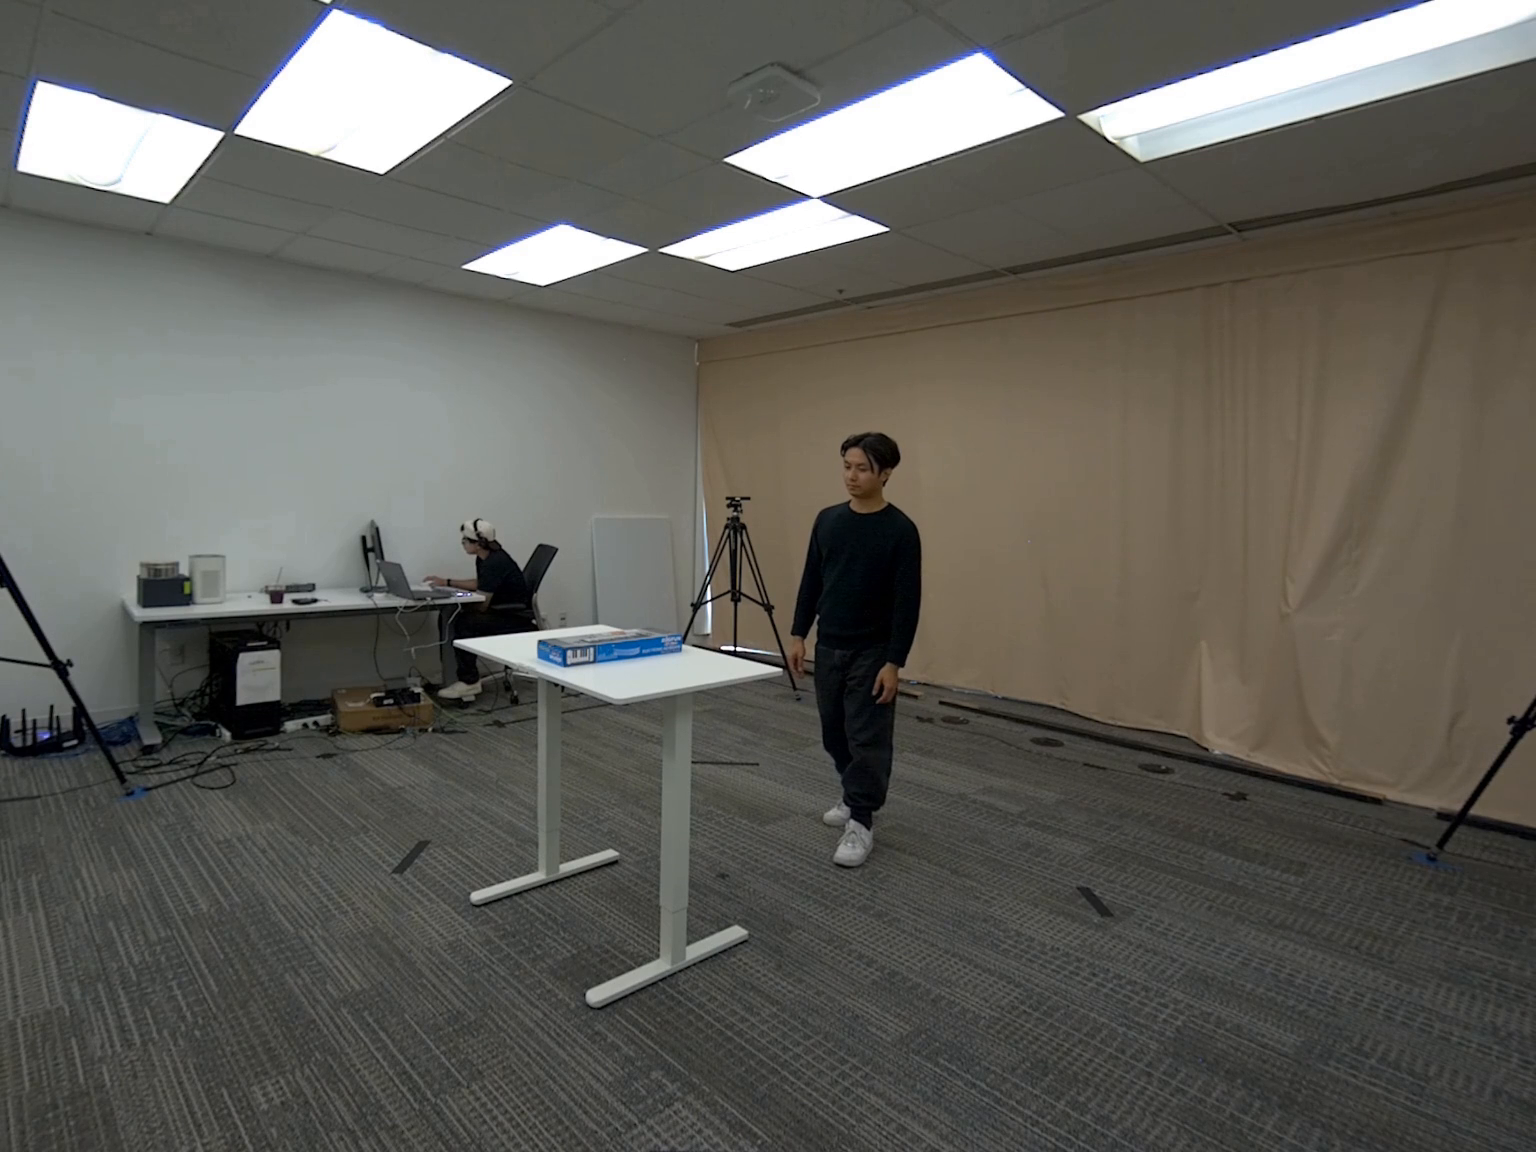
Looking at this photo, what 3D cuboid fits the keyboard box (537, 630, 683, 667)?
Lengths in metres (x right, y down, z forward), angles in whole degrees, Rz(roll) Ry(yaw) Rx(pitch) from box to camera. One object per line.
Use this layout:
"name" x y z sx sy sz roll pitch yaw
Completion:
"keyboard box" -0.512 0.227 2.685 0.427 0.059 0.180 -4 7 -41
